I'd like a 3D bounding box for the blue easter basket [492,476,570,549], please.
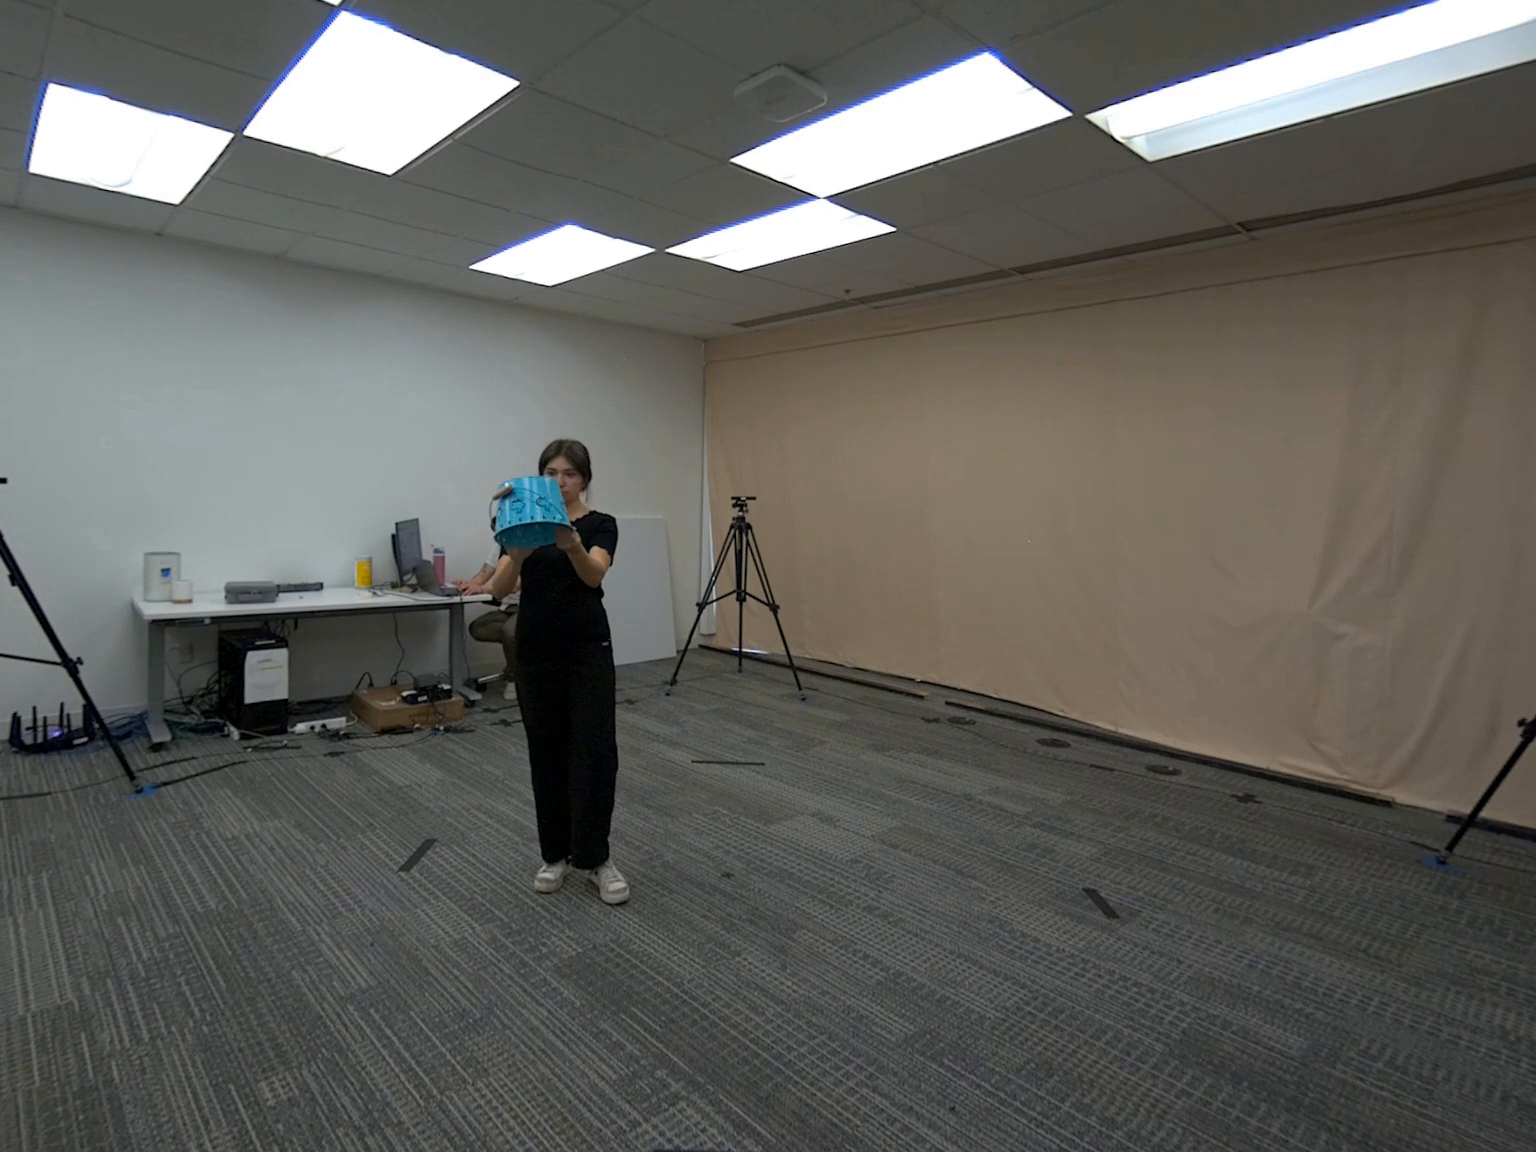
[{"bbox_3d":[-0.725,-0.198,2.506,0.243,0.158,0.241,-9,-15,-4],"label":"blue easter basket"}]
